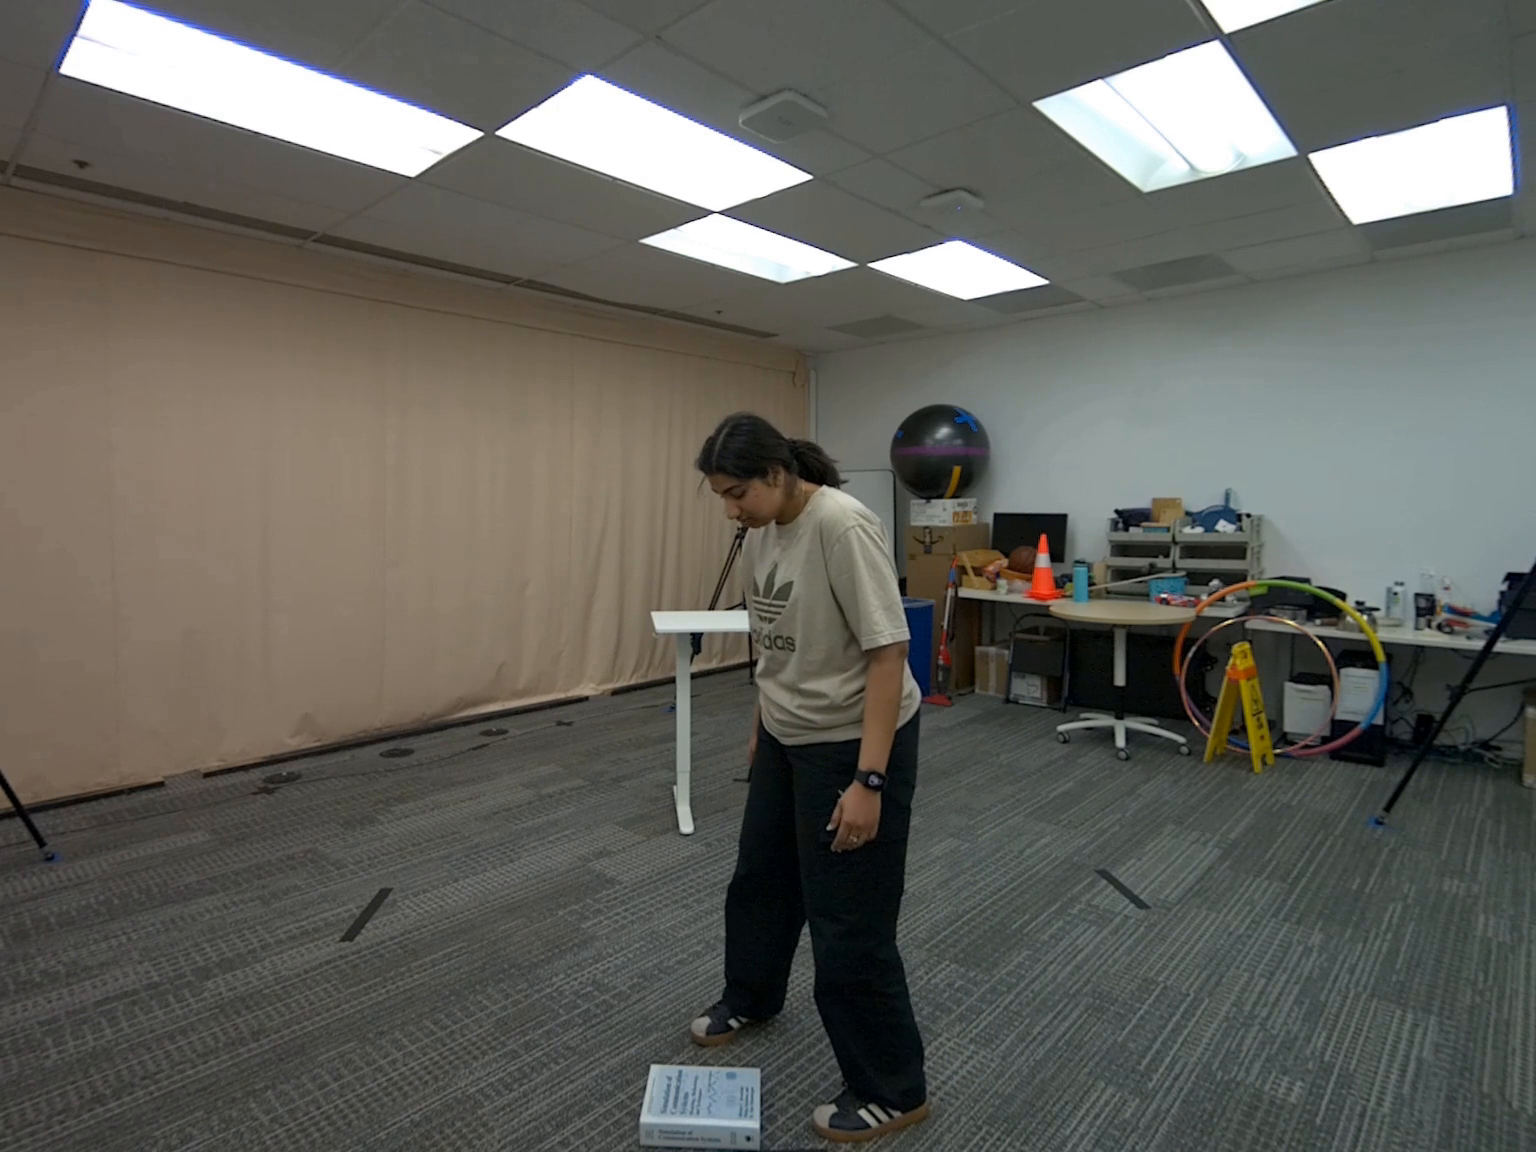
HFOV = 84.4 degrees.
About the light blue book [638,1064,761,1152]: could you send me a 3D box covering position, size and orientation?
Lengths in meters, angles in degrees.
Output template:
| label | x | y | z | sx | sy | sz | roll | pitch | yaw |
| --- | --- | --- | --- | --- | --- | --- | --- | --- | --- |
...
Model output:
| label | x | y | z | sx | sy | sz | roll | pitch | yaw |
| --- | --- | --- | --- | --- | --- | --- | --- | --- | --- |
| light blue book | -0.146 | 1.204 | 1.922 | 0.262 | 0.059 | 0.191 | 0 | 5 | 2 |
